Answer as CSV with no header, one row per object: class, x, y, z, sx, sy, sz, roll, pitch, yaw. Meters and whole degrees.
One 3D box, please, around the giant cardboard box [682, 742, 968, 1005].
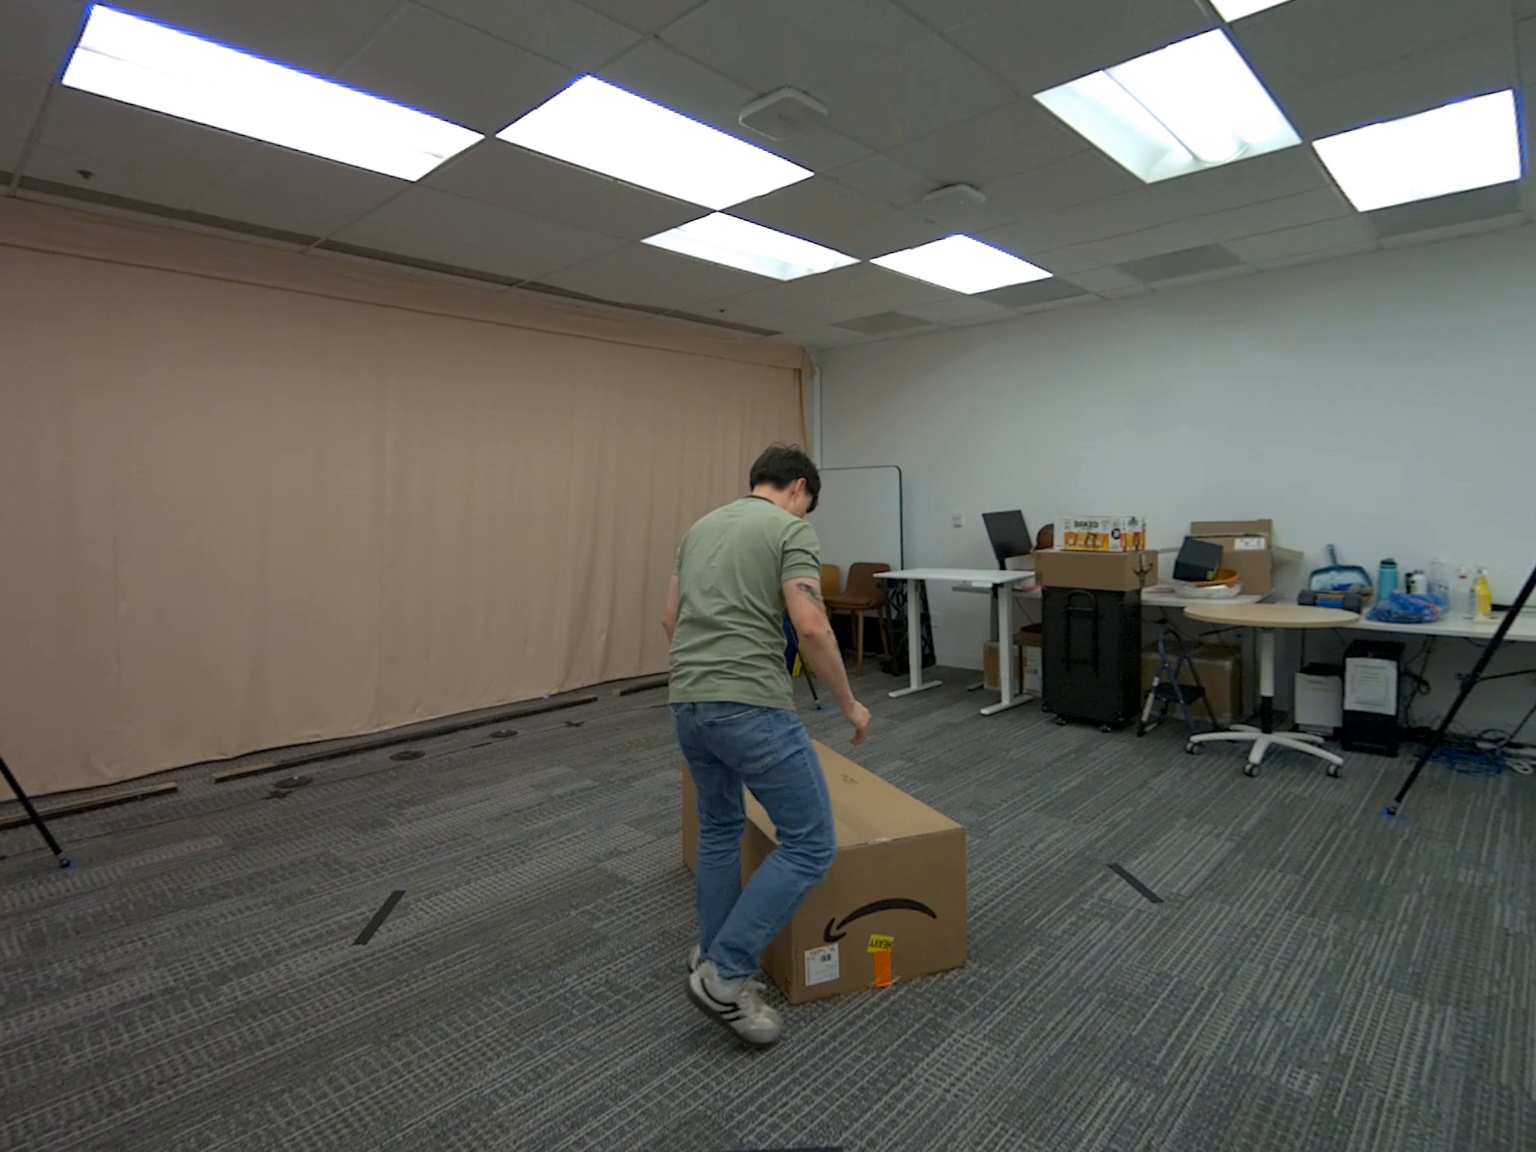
giant cardboard box,0.135,0.930,2.891,0.566,0.425,1.049,-3,5,-21
